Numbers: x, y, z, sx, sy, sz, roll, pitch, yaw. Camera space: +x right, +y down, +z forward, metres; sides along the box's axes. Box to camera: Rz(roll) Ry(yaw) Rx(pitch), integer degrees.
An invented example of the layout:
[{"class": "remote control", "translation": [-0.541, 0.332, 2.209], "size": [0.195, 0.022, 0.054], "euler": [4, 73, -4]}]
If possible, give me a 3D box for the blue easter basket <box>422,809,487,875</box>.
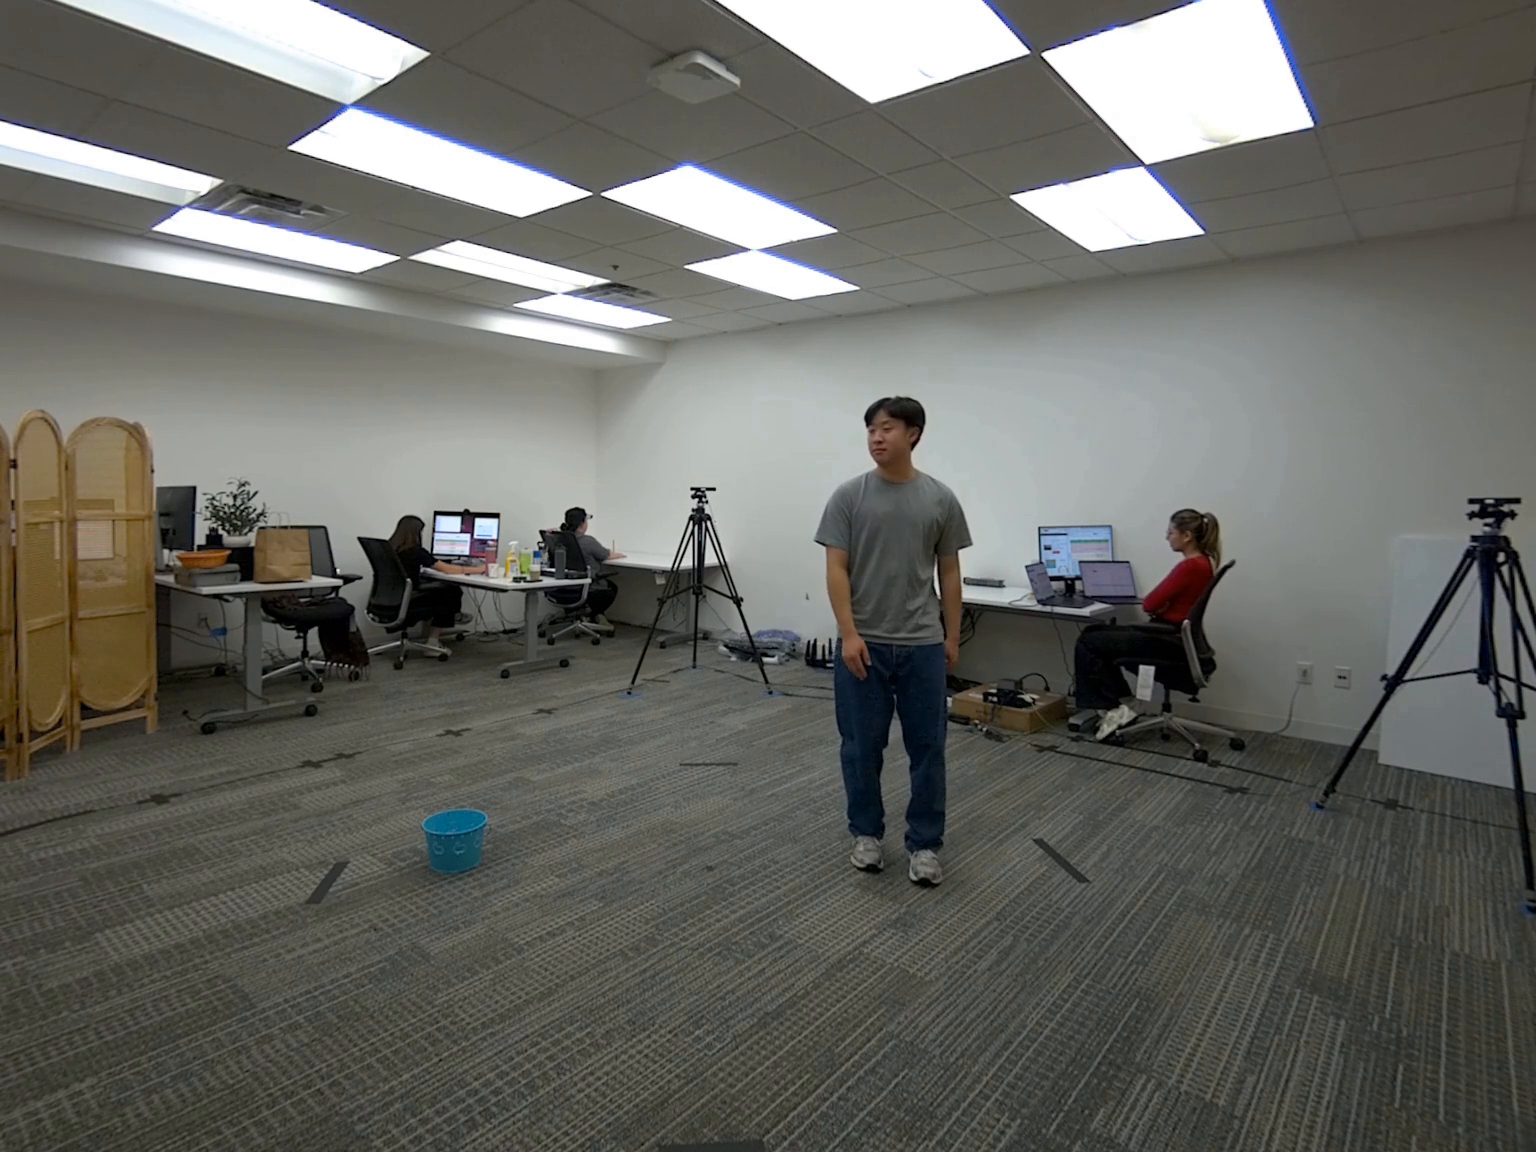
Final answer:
[{"class": "blue easter basket", "translation": [-1.161, 0.973, 3.133], "size": [0.243, 0.155, 0.245], "euler": [1, 4, -2]}]
